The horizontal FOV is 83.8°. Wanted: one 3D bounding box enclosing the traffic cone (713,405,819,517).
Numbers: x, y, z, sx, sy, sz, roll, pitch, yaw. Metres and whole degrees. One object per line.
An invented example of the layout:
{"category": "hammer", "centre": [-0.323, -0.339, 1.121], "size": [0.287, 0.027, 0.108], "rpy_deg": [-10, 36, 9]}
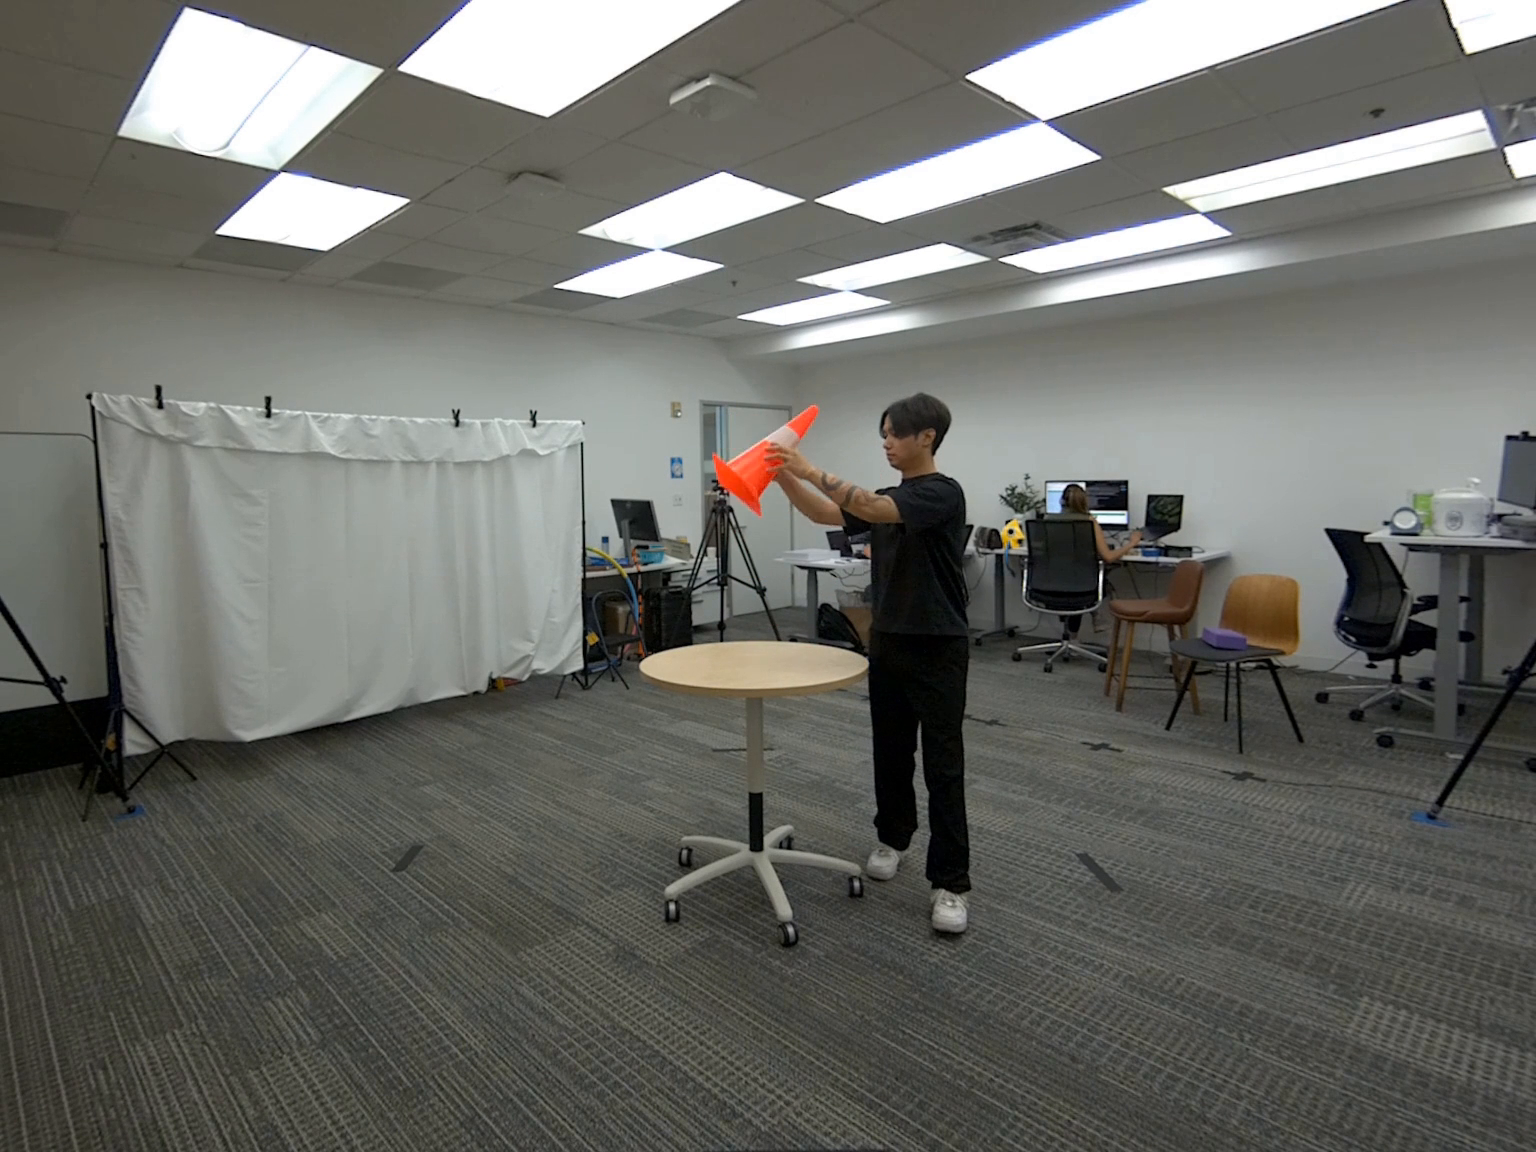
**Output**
{"category": "traffic cone", "centre": [0.038, -0.412, 2.785], "size": [0.209, 0.383, 0.199], "rpy_deg": [39, -12, 24]}
